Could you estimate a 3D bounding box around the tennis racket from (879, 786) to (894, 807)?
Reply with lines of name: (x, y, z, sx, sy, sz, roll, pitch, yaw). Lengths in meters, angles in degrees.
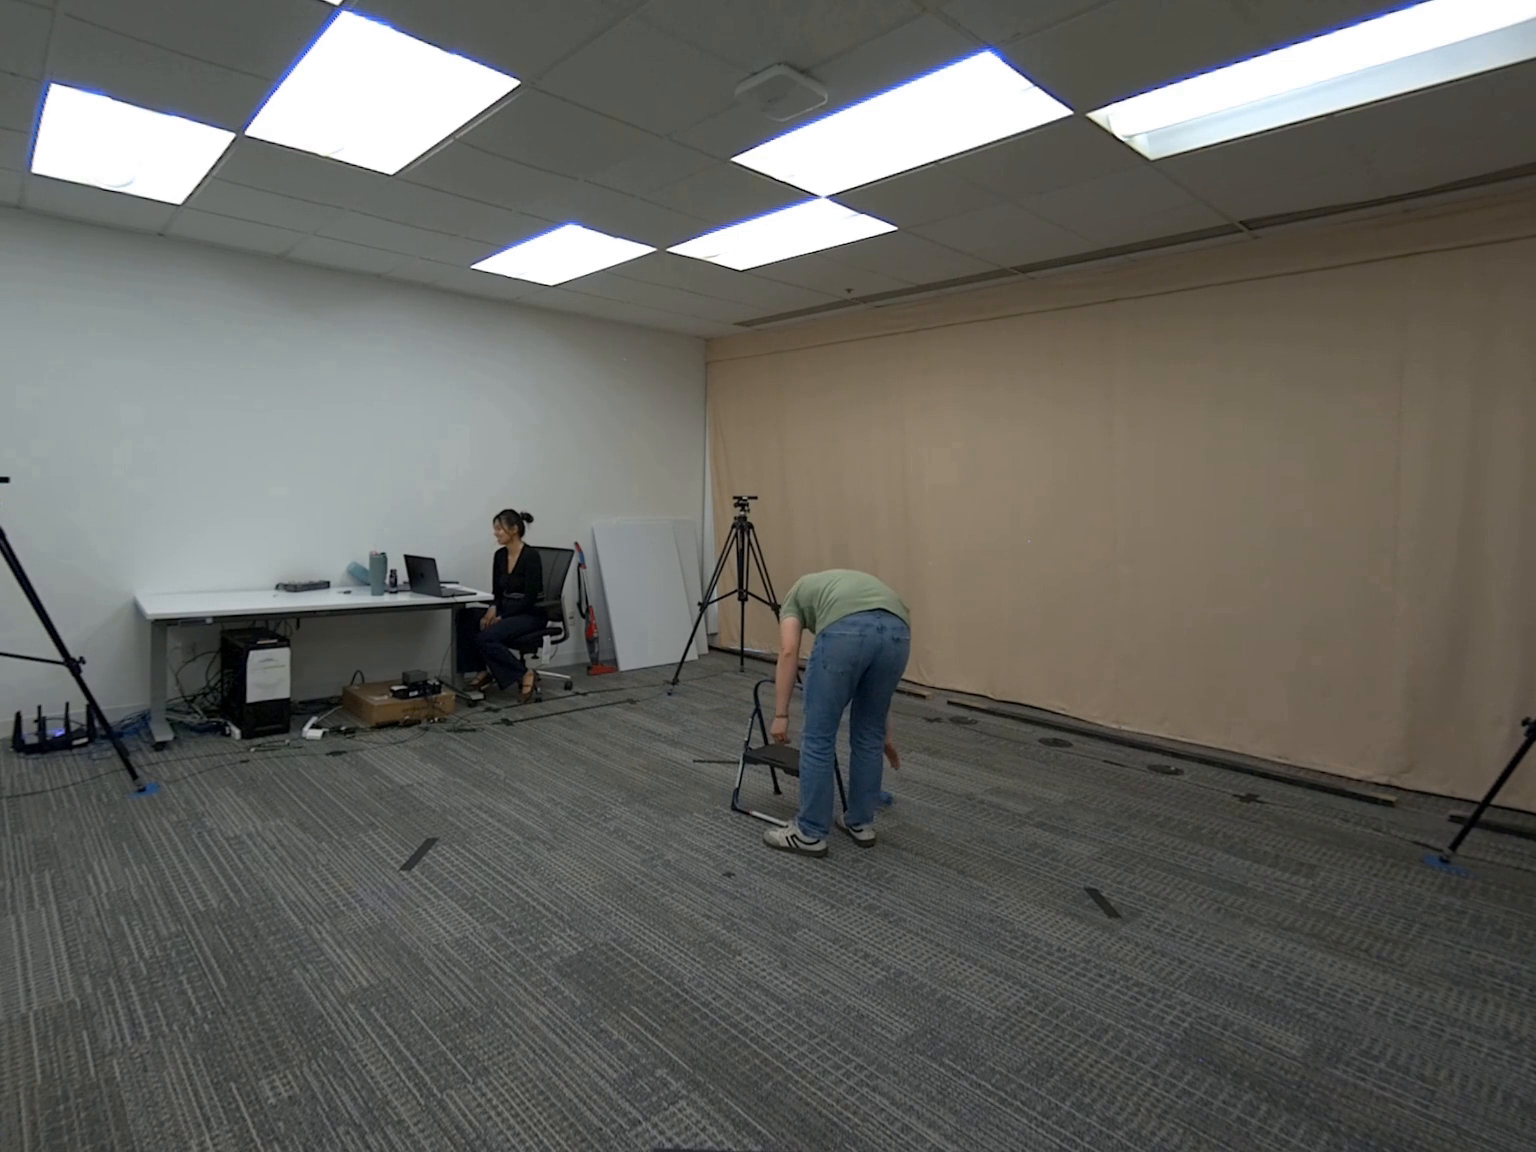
tennis racket: (0.474, 1.001, 3.891, 0.213, 0.032, 0.432, 12, -4, -3)
